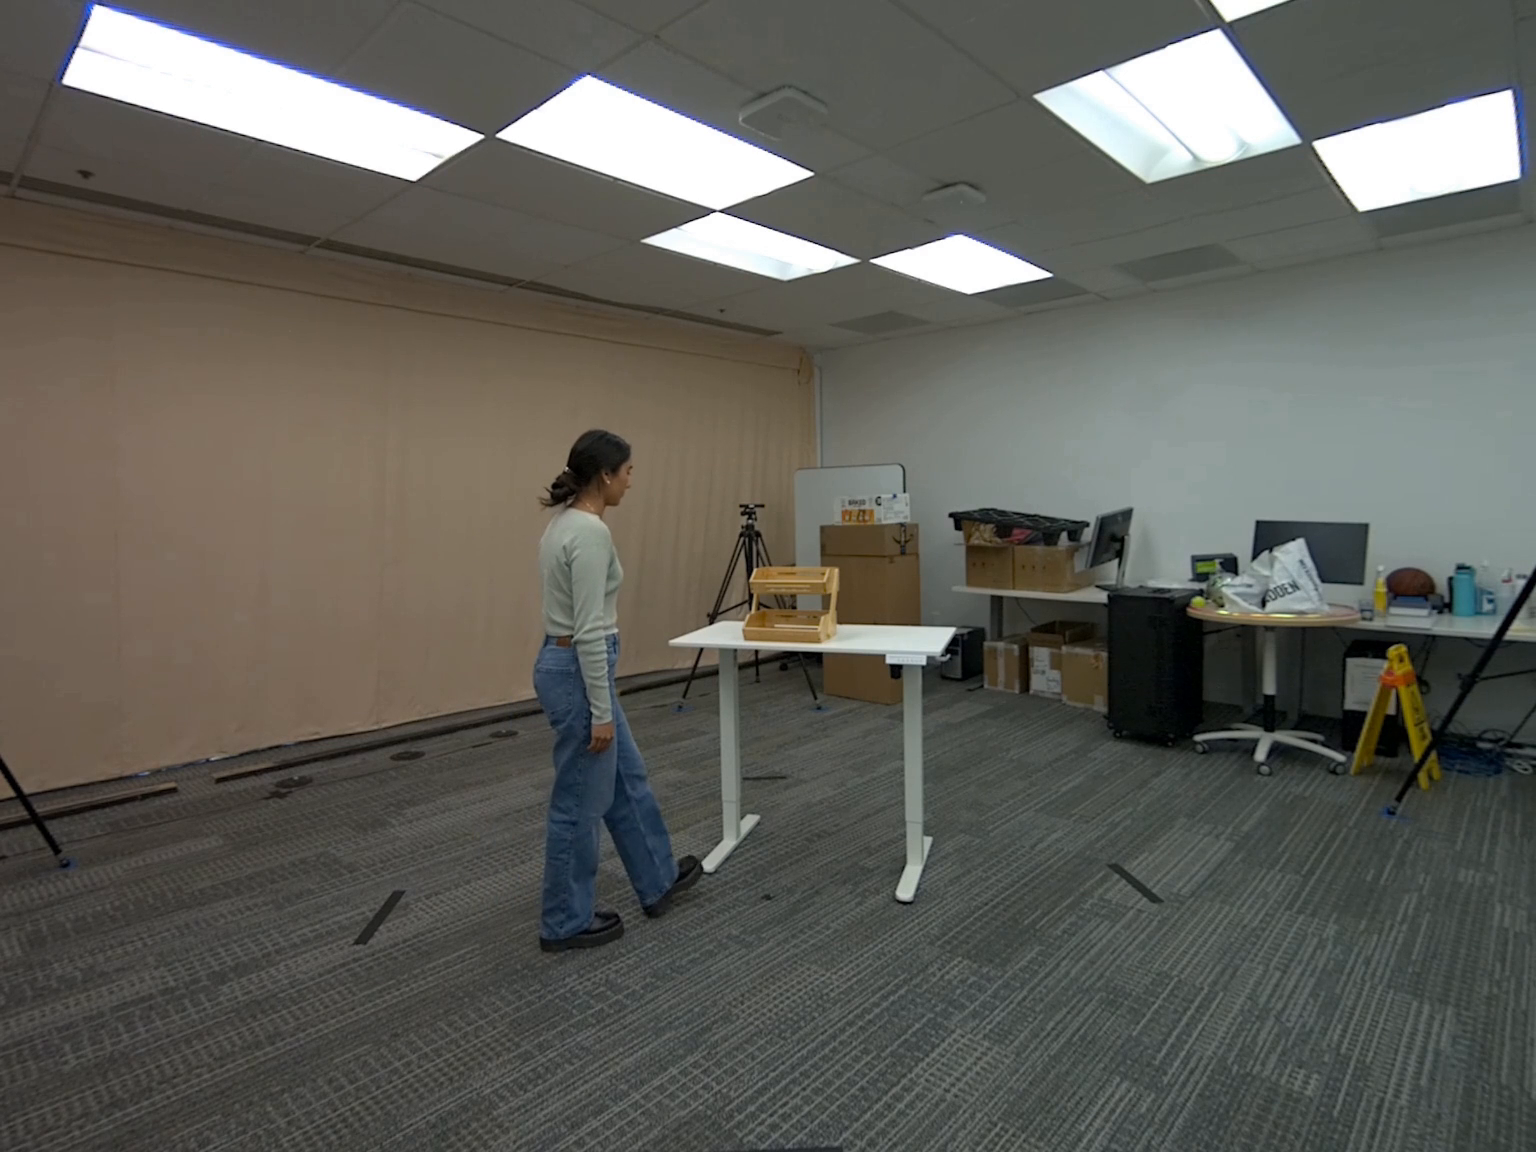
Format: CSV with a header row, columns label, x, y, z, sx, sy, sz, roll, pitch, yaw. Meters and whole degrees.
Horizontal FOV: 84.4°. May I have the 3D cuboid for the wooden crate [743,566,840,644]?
label,x,y,z,sx,sy,sz,roll,pitch,yaw
wooden crate,0.099,0.102,3.230,0.331,0.273,0.296,0,3,20
